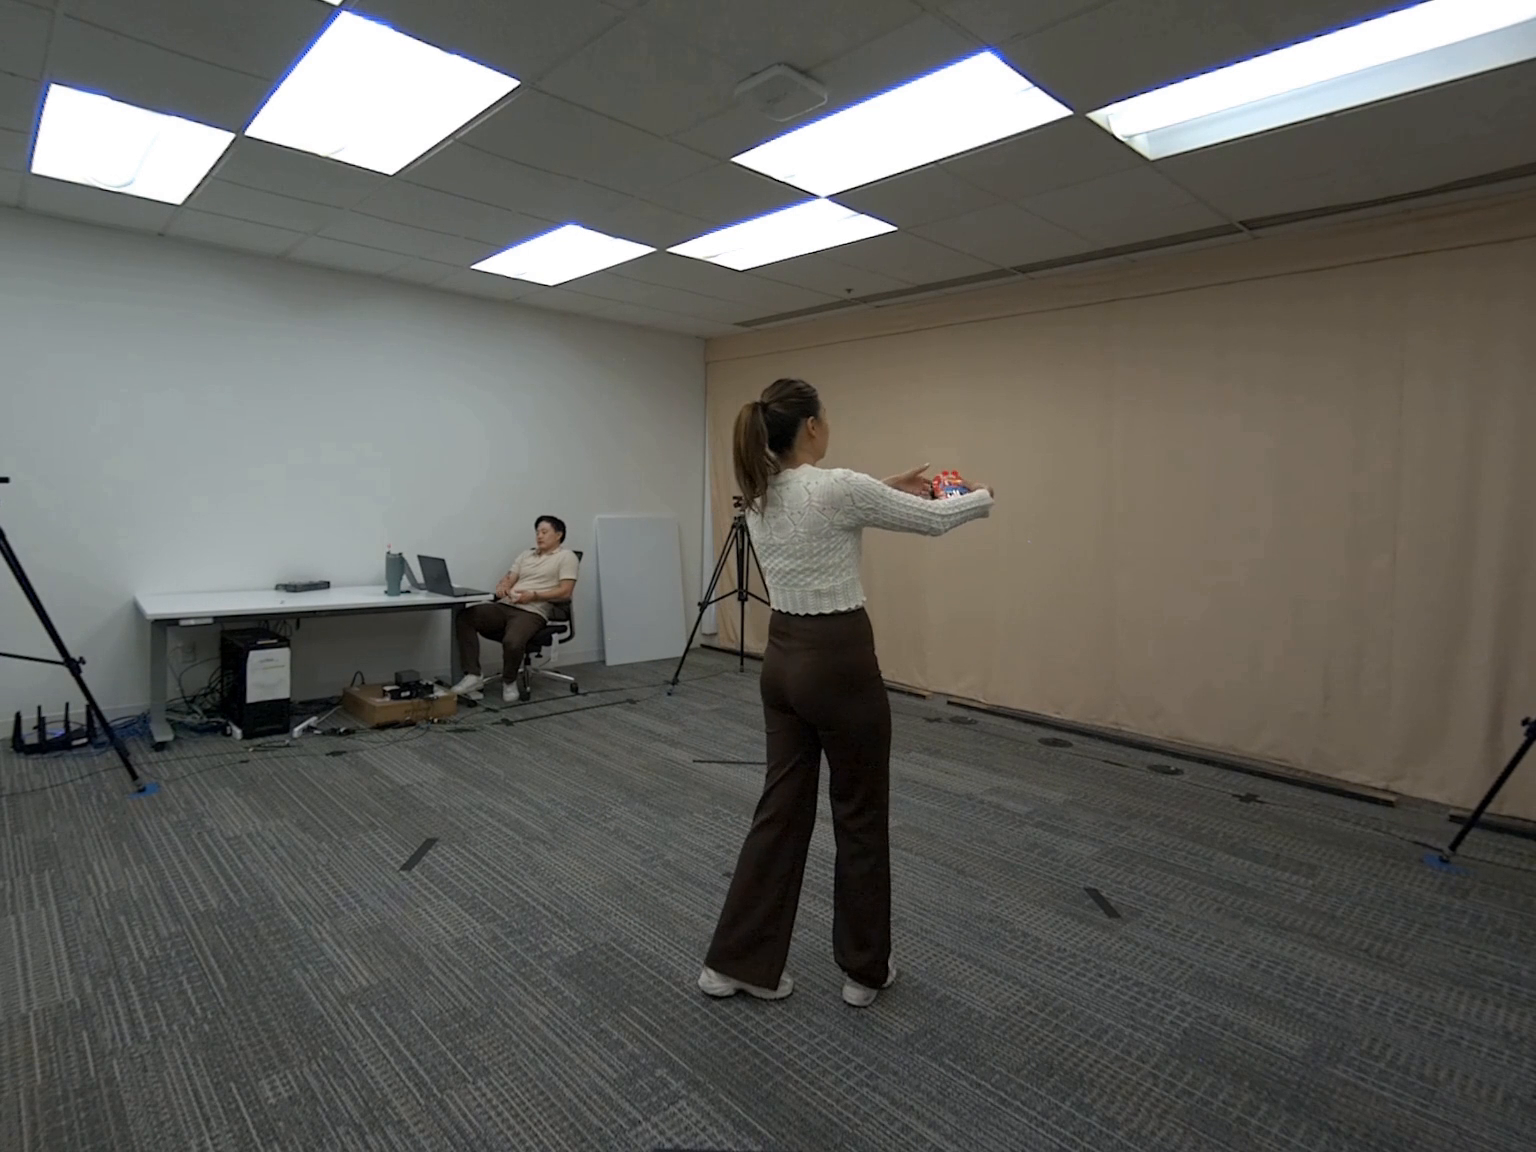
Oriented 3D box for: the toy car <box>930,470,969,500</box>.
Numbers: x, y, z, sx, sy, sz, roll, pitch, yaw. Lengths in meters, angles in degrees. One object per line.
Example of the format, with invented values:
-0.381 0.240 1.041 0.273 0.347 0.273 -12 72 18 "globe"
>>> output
0.549 -0.257 2.582 0.131 0.081 0.259 -2 33 3 "toy car"
